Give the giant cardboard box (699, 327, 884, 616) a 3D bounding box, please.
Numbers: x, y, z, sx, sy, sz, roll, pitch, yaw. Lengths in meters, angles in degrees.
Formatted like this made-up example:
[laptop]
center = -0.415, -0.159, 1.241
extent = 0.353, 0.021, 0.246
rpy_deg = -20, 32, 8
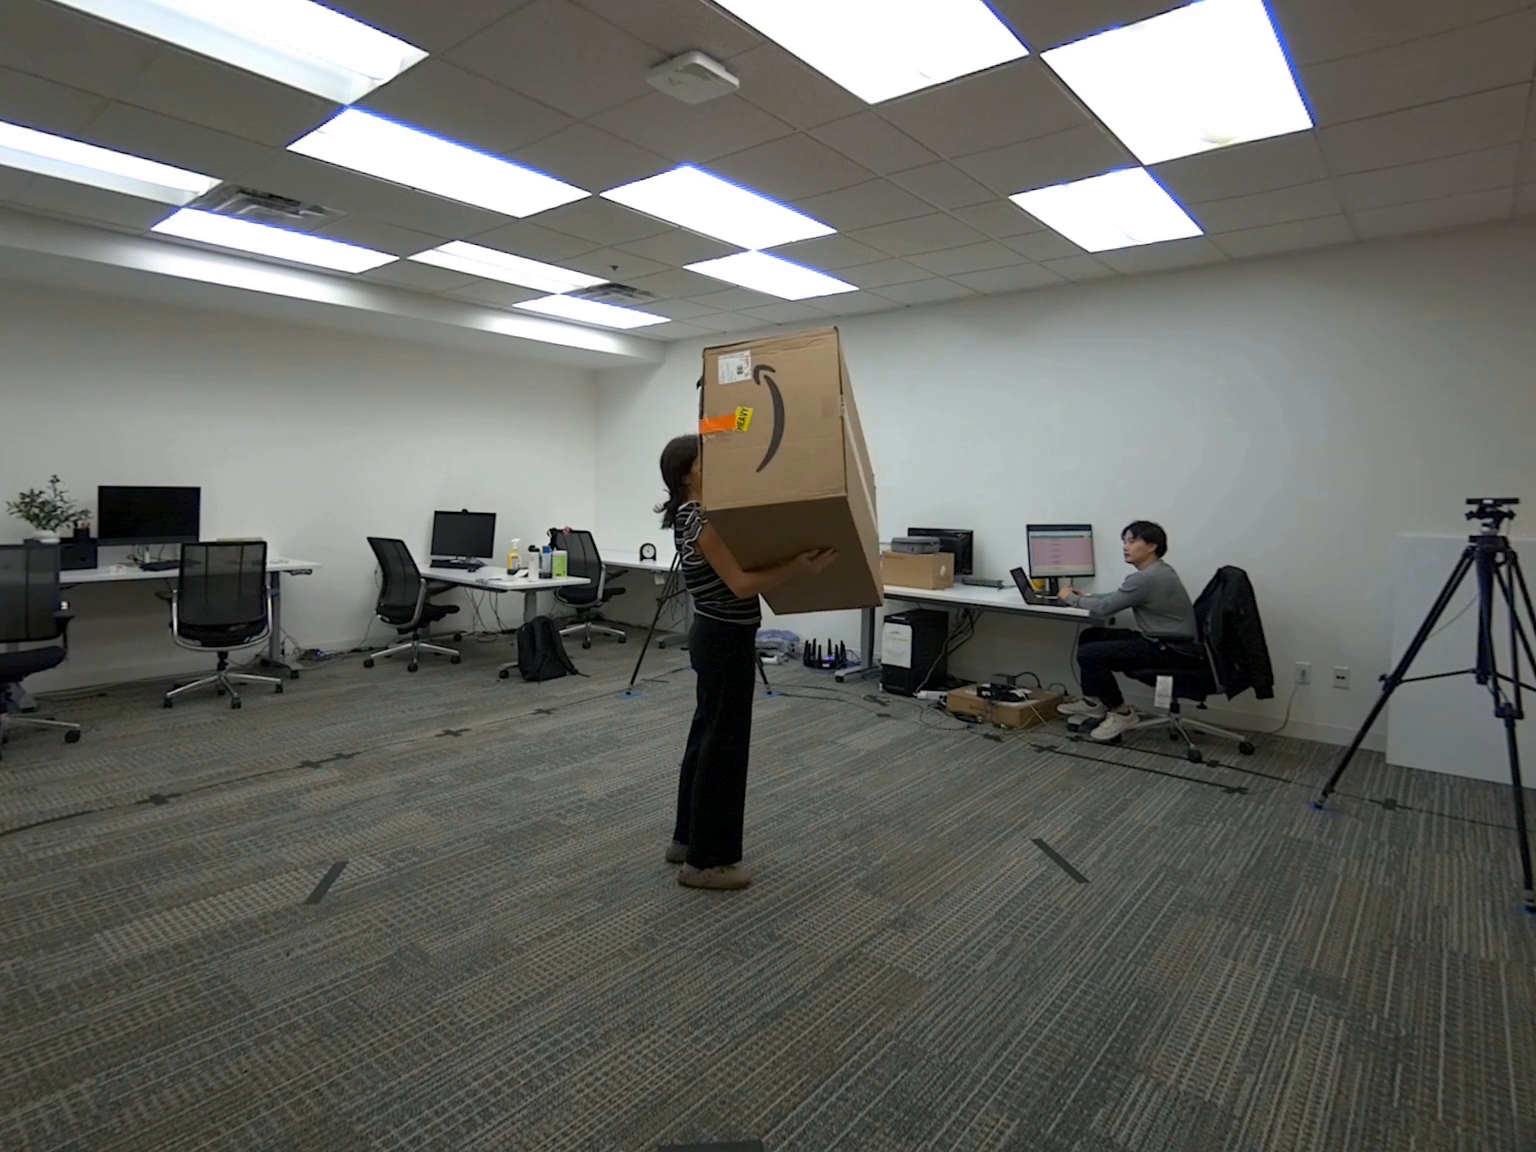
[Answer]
[giant cardboard box]
center = 0.103, -0.304, 2.953
extent = 0.431, 0.589, 0.992
rpy_deg = -6, -22, 12
